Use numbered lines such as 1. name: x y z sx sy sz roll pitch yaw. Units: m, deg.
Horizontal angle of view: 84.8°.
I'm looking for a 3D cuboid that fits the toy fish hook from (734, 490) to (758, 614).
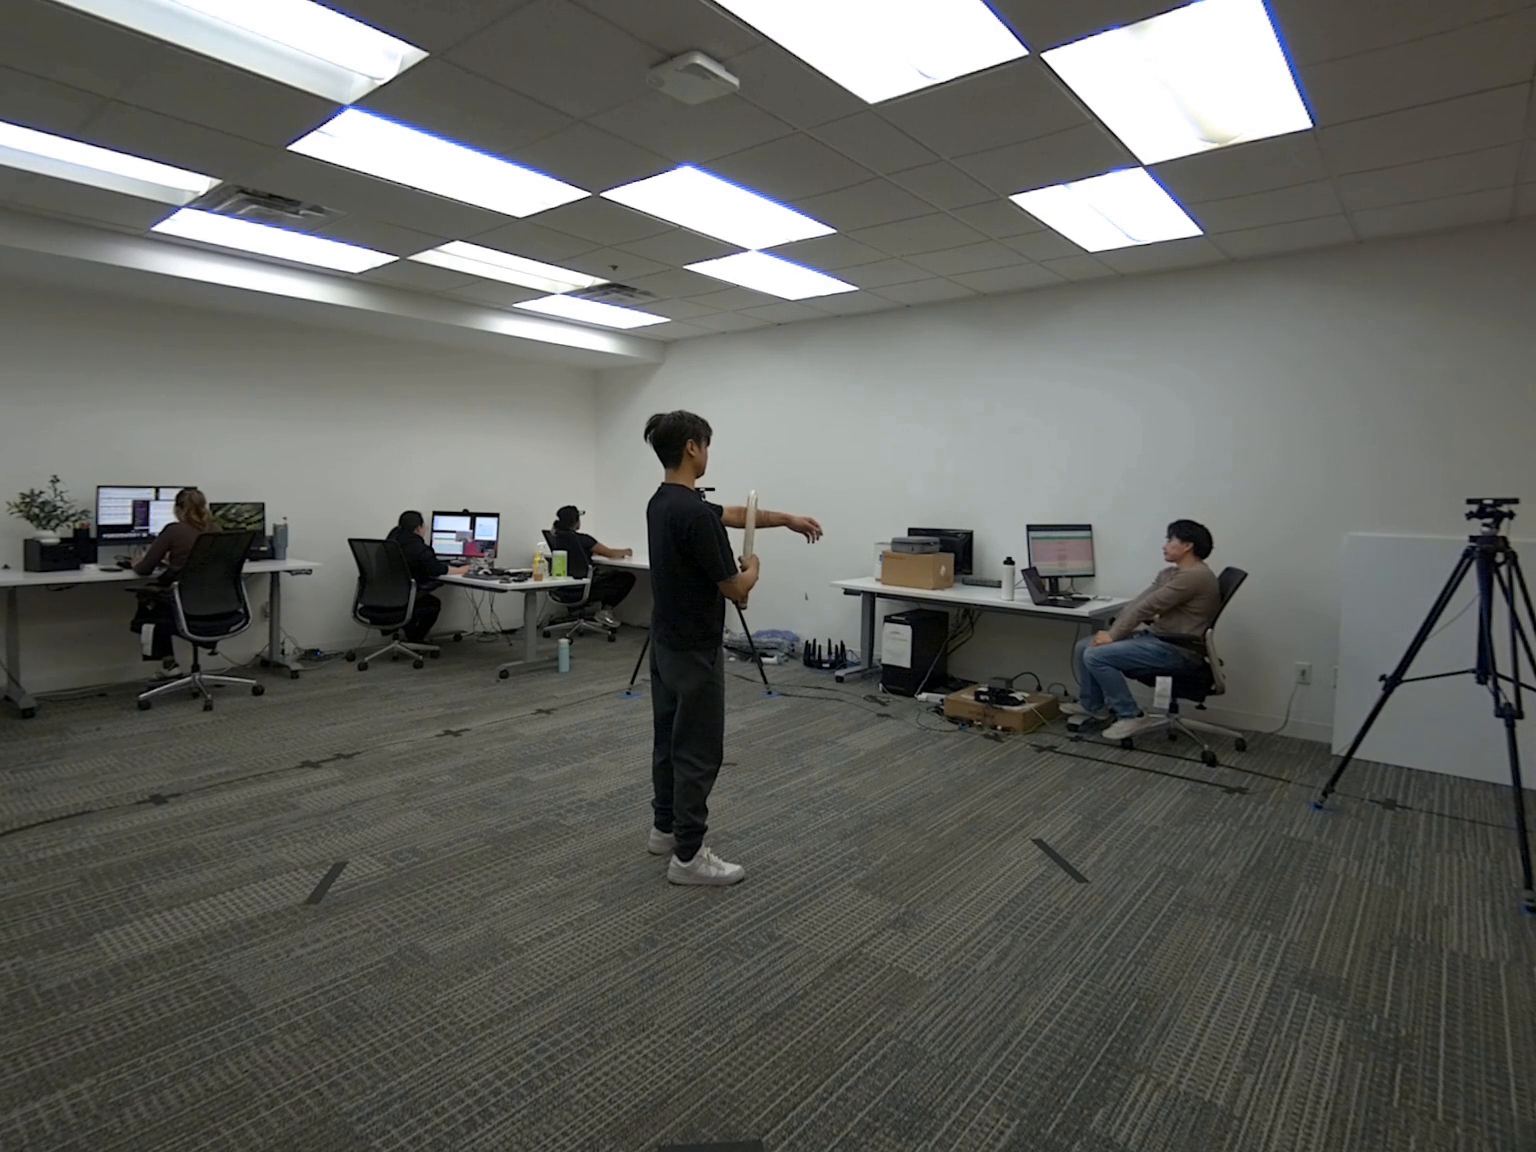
1. toy fish hook: -0.088 -0.095 3.338 0.048 0.516 0.220 4 -21 0
